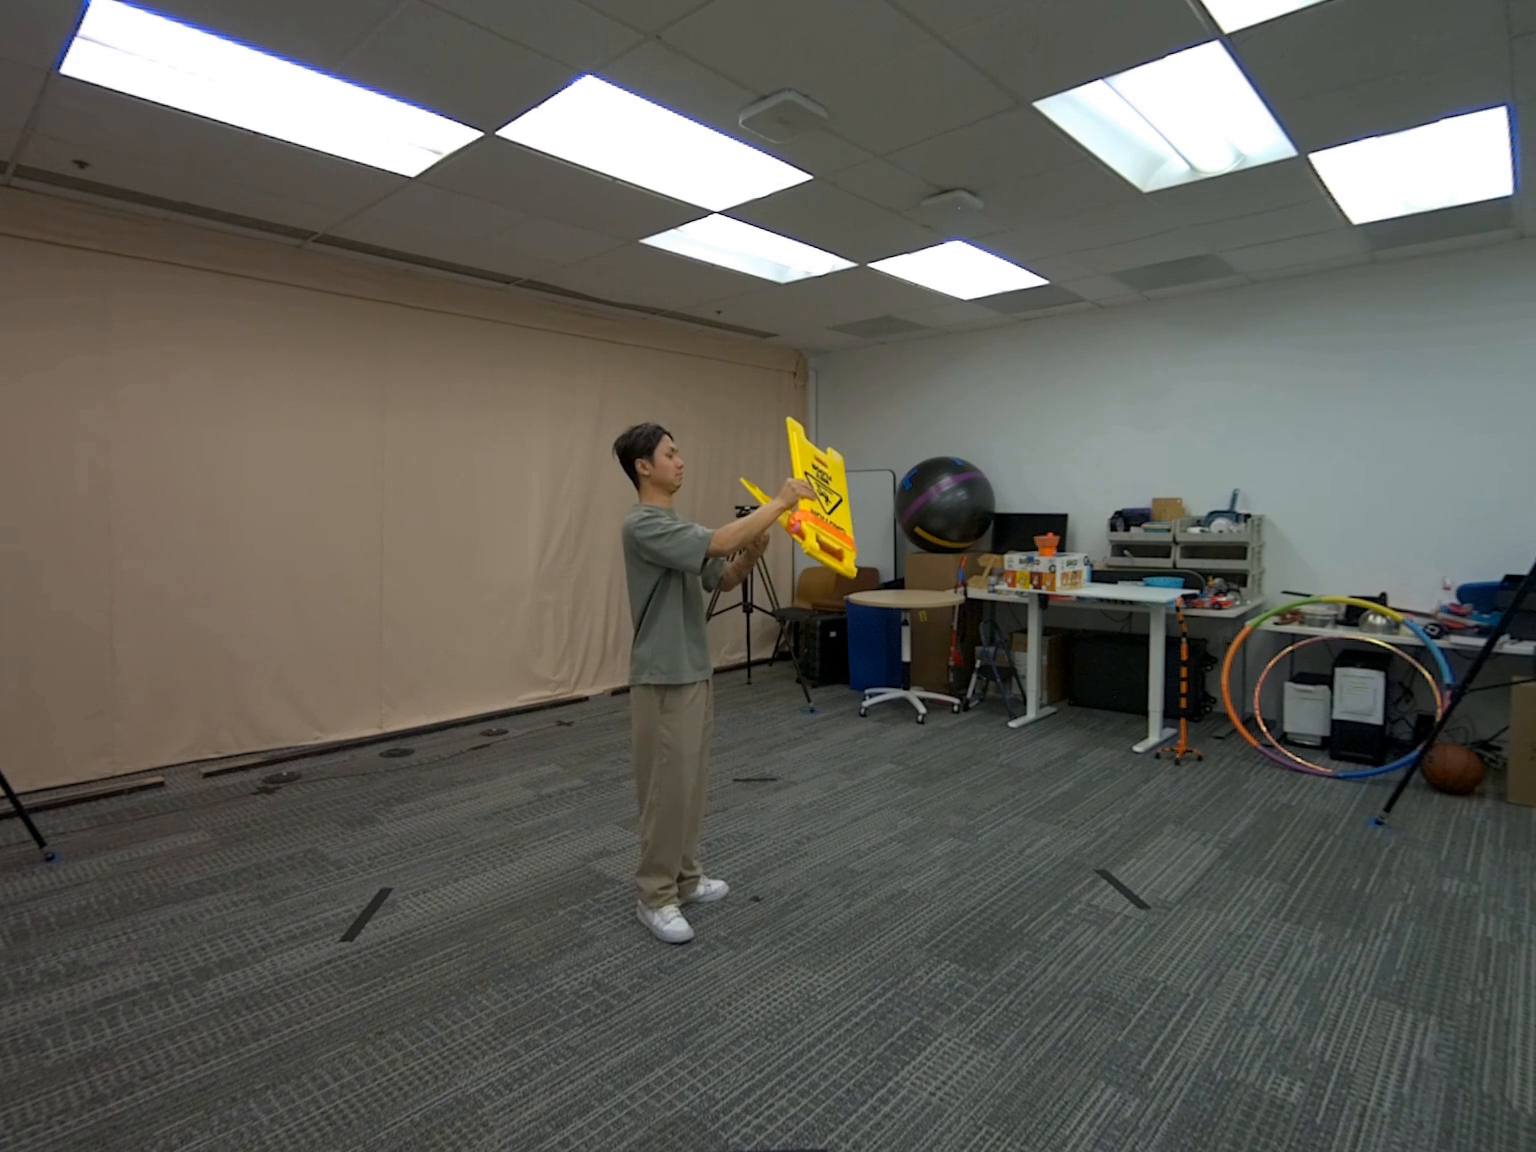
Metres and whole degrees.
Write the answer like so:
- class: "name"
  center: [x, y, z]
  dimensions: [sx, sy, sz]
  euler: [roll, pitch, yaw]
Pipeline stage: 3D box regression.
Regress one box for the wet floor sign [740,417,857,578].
- class: "wet floor sign"
  center: [0.142, -0.212, 2.812]
  dimensions: [0.274, 0.291, 0.661]
  euler: [30, 24, -26]
